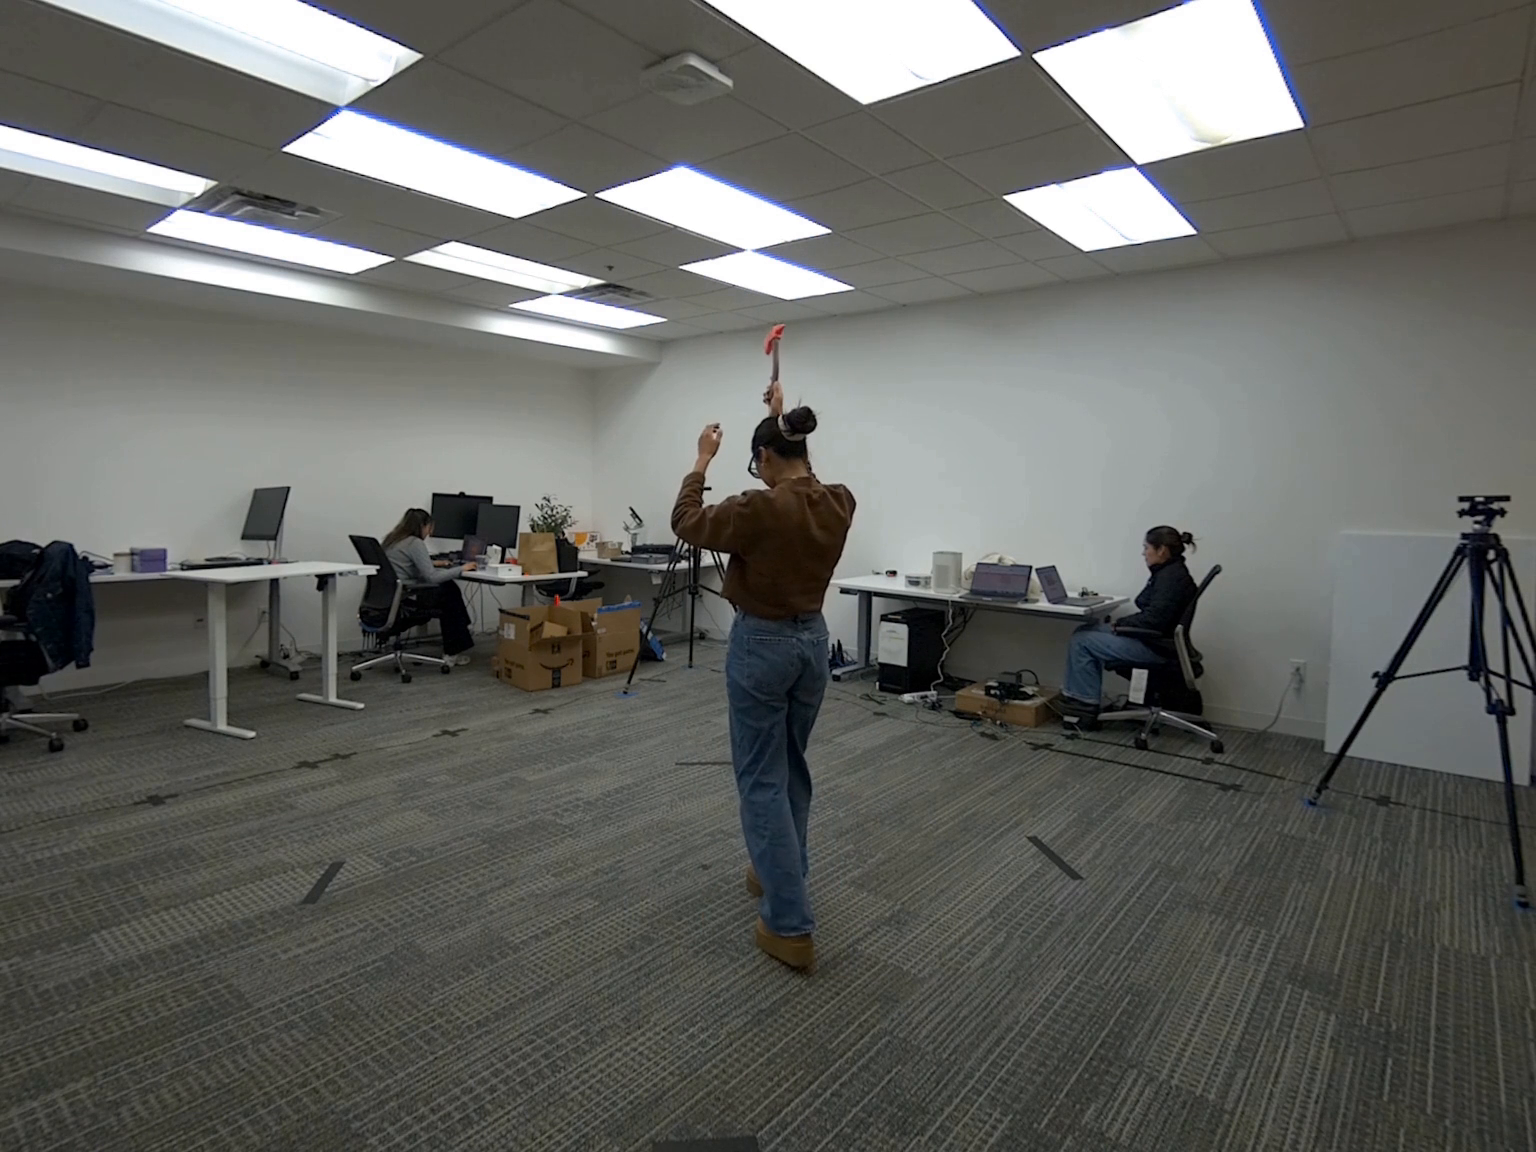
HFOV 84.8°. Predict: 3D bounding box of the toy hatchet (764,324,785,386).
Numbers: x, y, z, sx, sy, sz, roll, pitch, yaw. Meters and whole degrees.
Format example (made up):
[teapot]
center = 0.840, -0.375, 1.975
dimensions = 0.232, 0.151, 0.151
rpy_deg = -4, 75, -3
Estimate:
[toy hatchet]
center = -0.010, -0.749, 2.977
dimensions = 0.028, 0.271, 0.135
rpy_deg = 10, -5, -33
